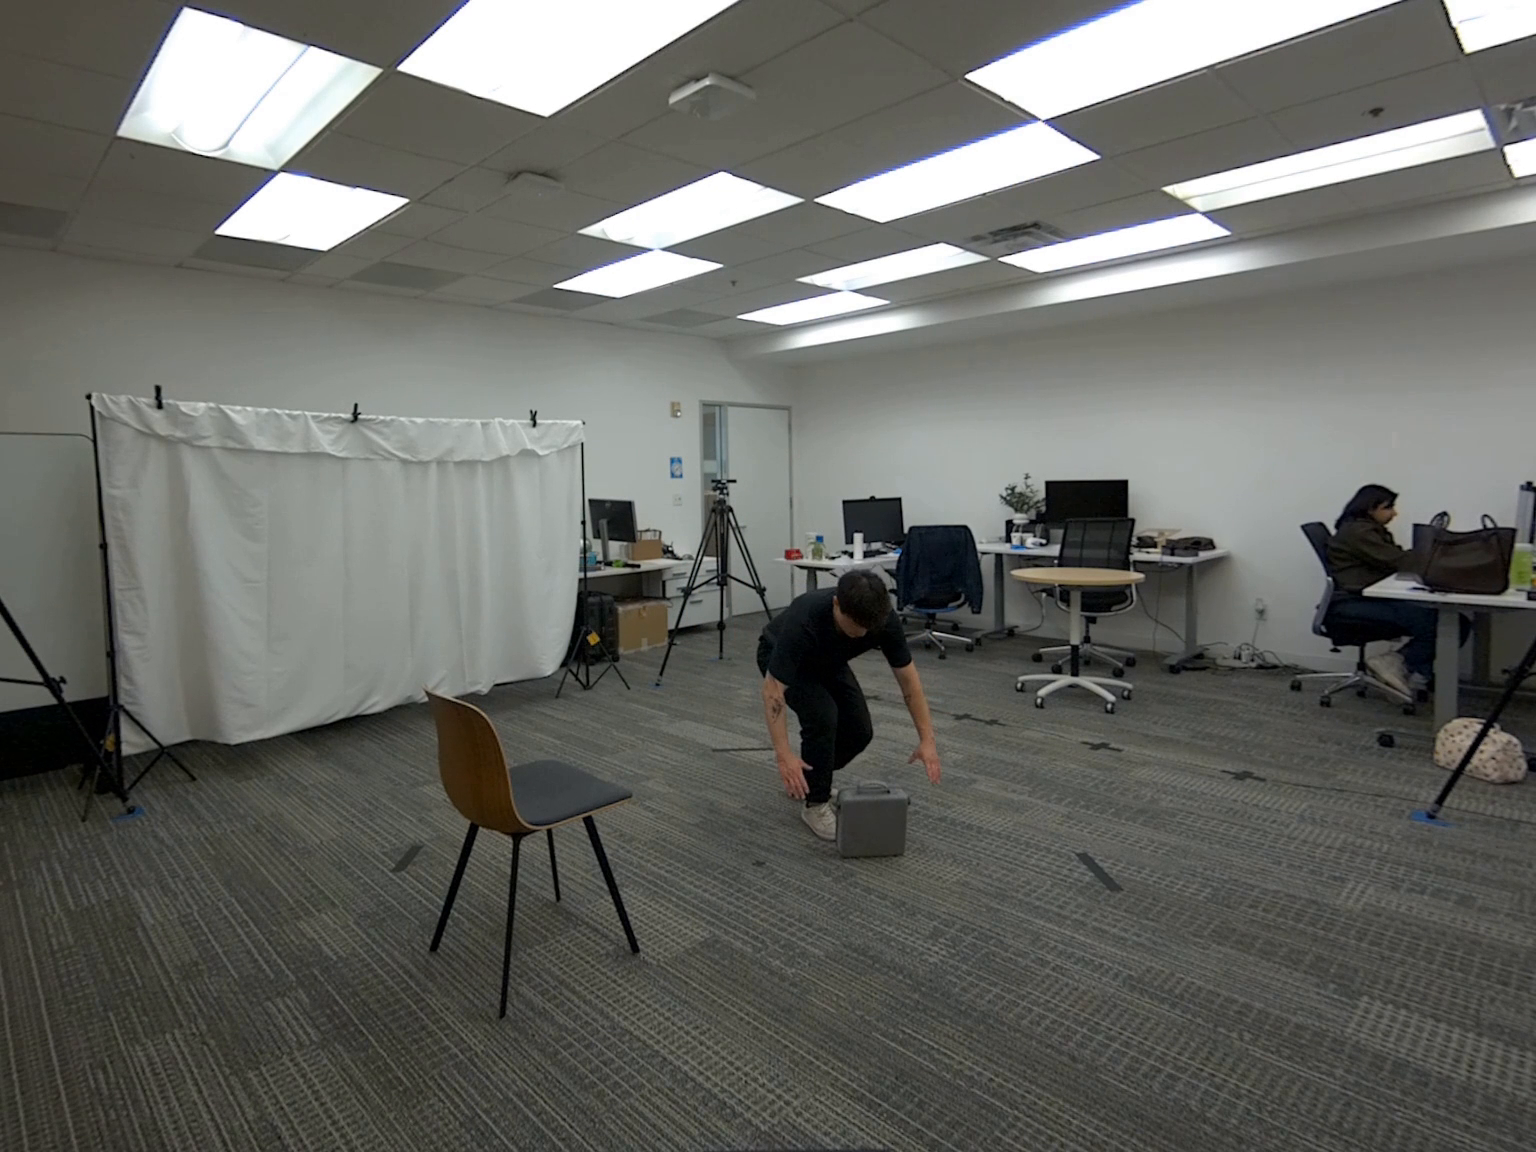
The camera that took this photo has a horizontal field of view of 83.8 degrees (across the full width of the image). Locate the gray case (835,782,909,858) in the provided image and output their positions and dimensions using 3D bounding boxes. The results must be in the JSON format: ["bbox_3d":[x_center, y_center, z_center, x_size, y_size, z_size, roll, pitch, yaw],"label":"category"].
[{"bbox_3d":[0.383,0.904,3.160,0.256,0.257,0.106,-2,14,-4],"label":"gray case"}]
